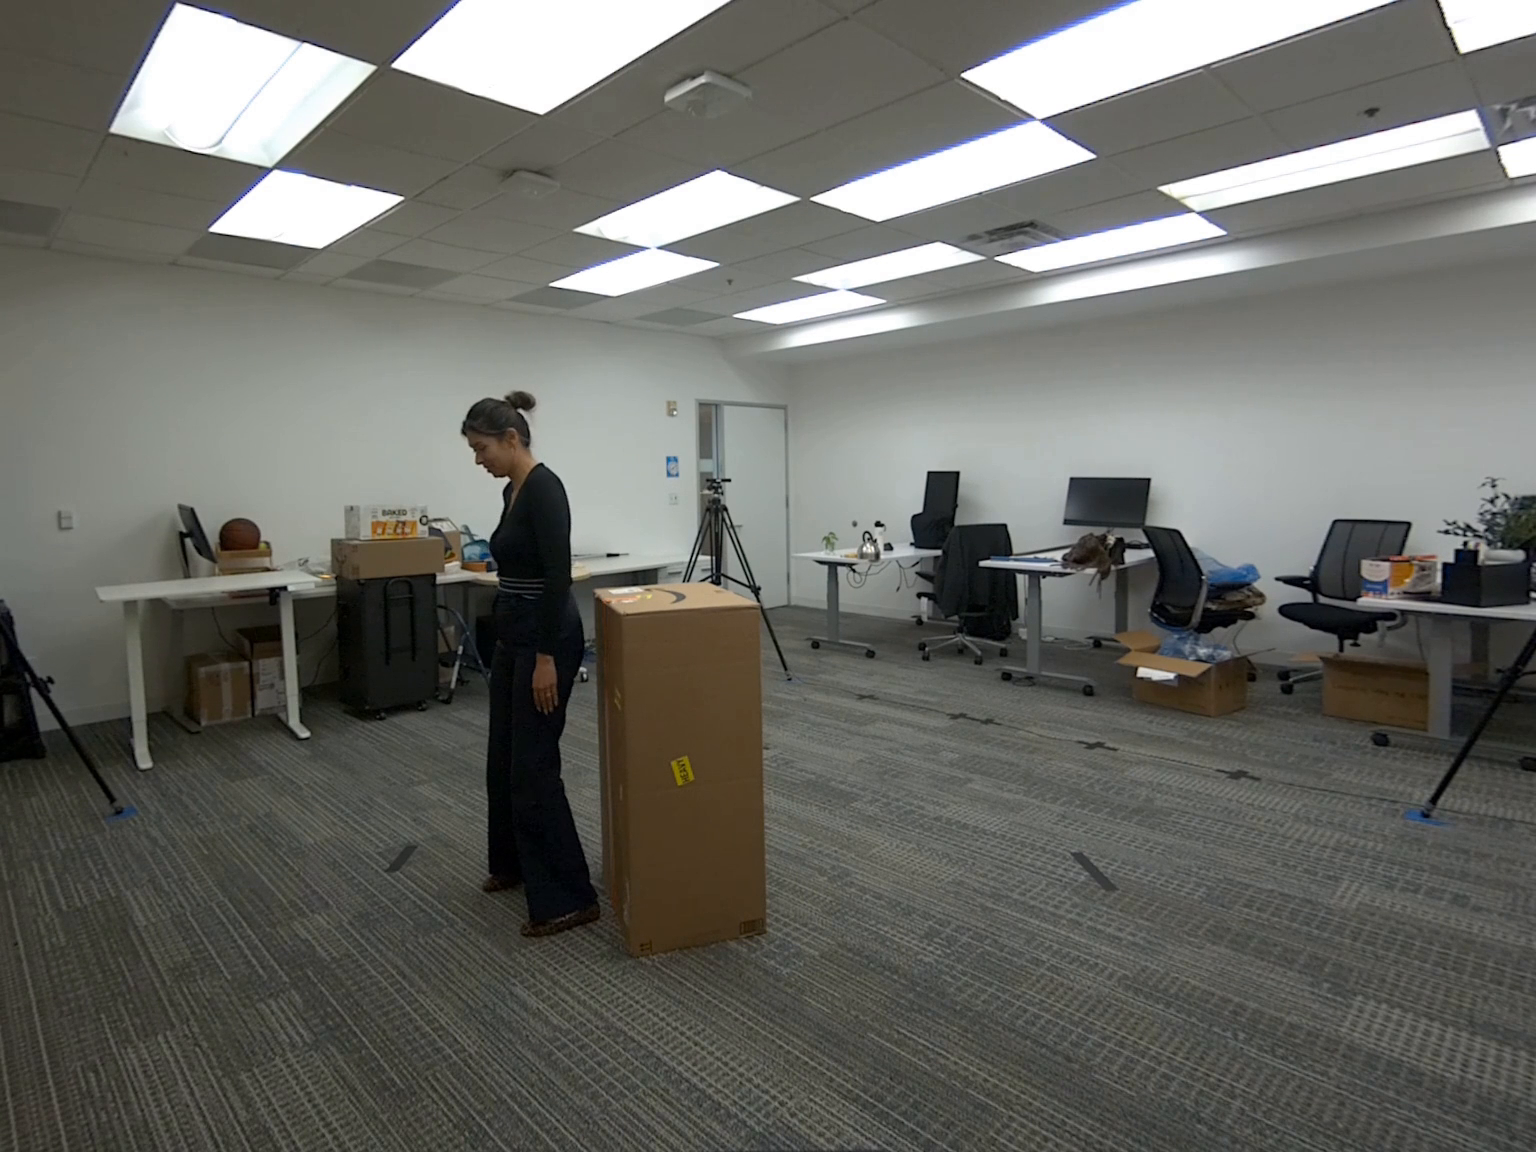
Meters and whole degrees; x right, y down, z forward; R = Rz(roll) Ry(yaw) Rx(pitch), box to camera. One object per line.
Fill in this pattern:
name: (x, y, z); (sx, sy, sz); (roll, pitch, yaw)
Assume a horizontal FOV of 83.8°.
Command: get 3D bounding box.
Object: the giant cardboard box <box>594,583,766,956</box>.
giant cardboard box: (-0.304, 0.574, 2.798); (0.419, 1.022, 0.590); (-2, 5, -19)
